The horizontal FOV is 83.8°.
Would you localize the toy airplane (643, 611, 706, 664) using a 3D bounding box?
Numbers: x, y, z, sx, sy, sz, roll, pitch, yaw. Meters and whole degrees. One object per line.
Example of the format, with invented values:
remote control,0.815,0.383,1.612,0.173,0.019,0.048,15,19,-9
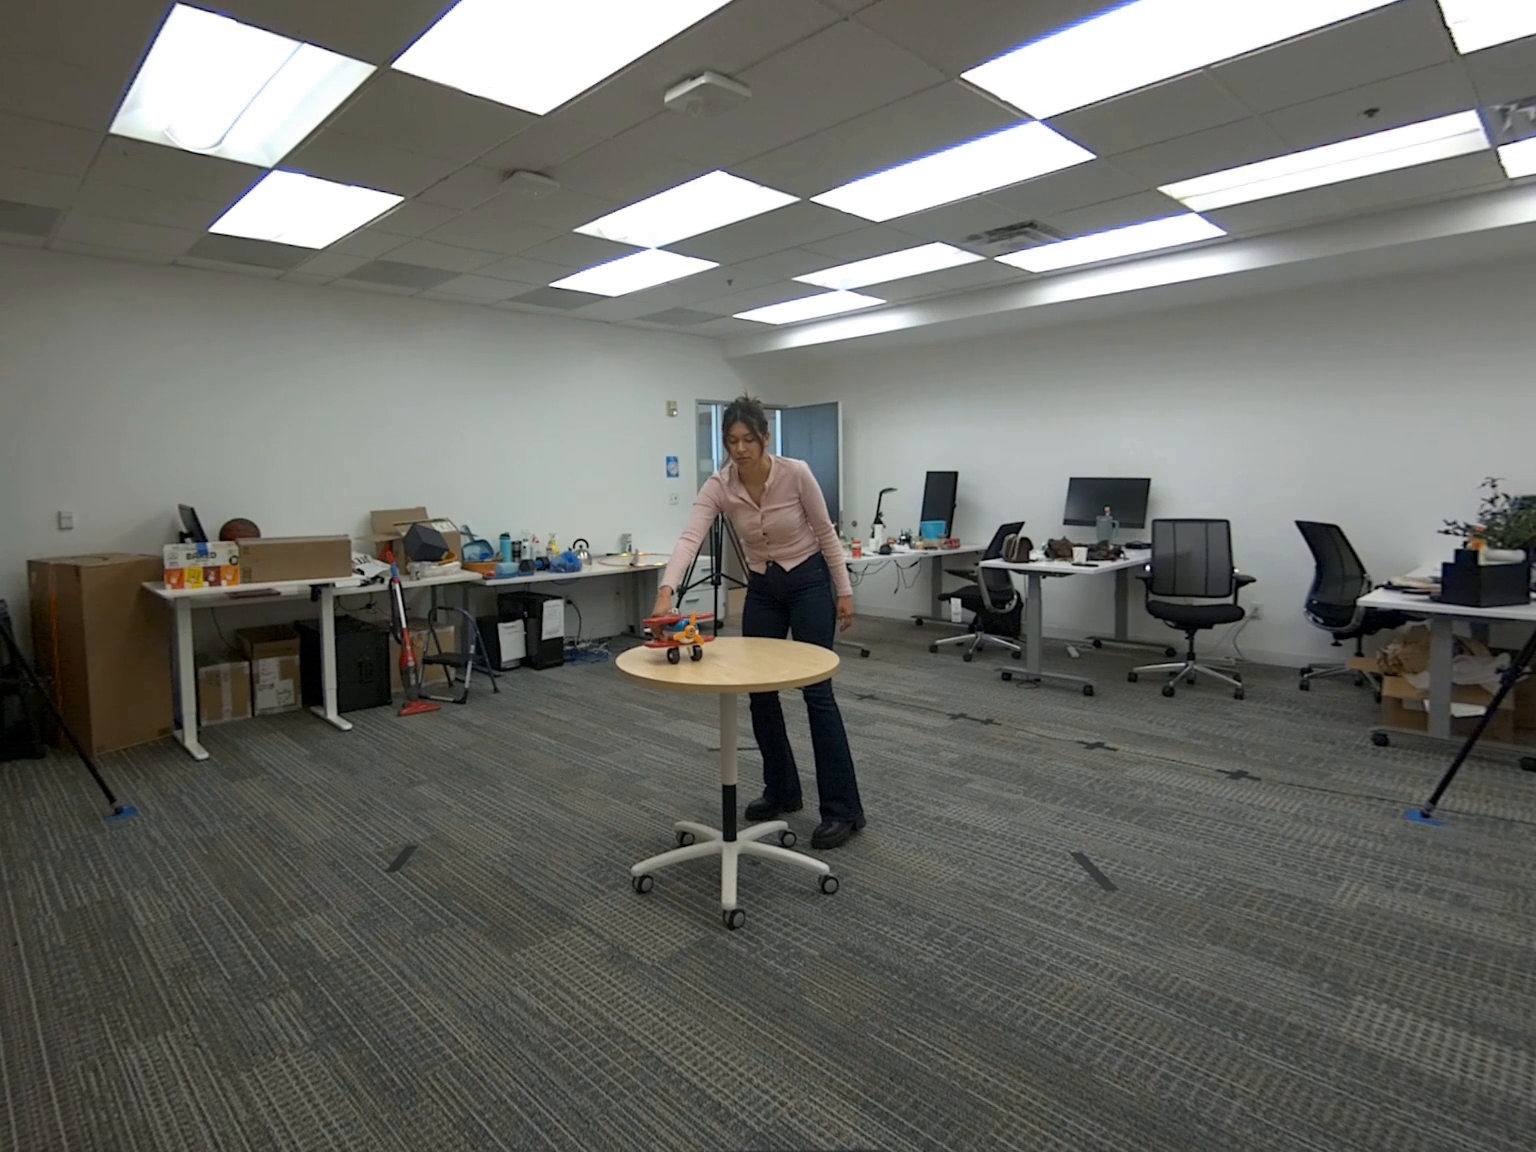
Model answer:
toy airplane,-0.331,0.197,2.925,0.267,0.155,0.246,12,15,31
